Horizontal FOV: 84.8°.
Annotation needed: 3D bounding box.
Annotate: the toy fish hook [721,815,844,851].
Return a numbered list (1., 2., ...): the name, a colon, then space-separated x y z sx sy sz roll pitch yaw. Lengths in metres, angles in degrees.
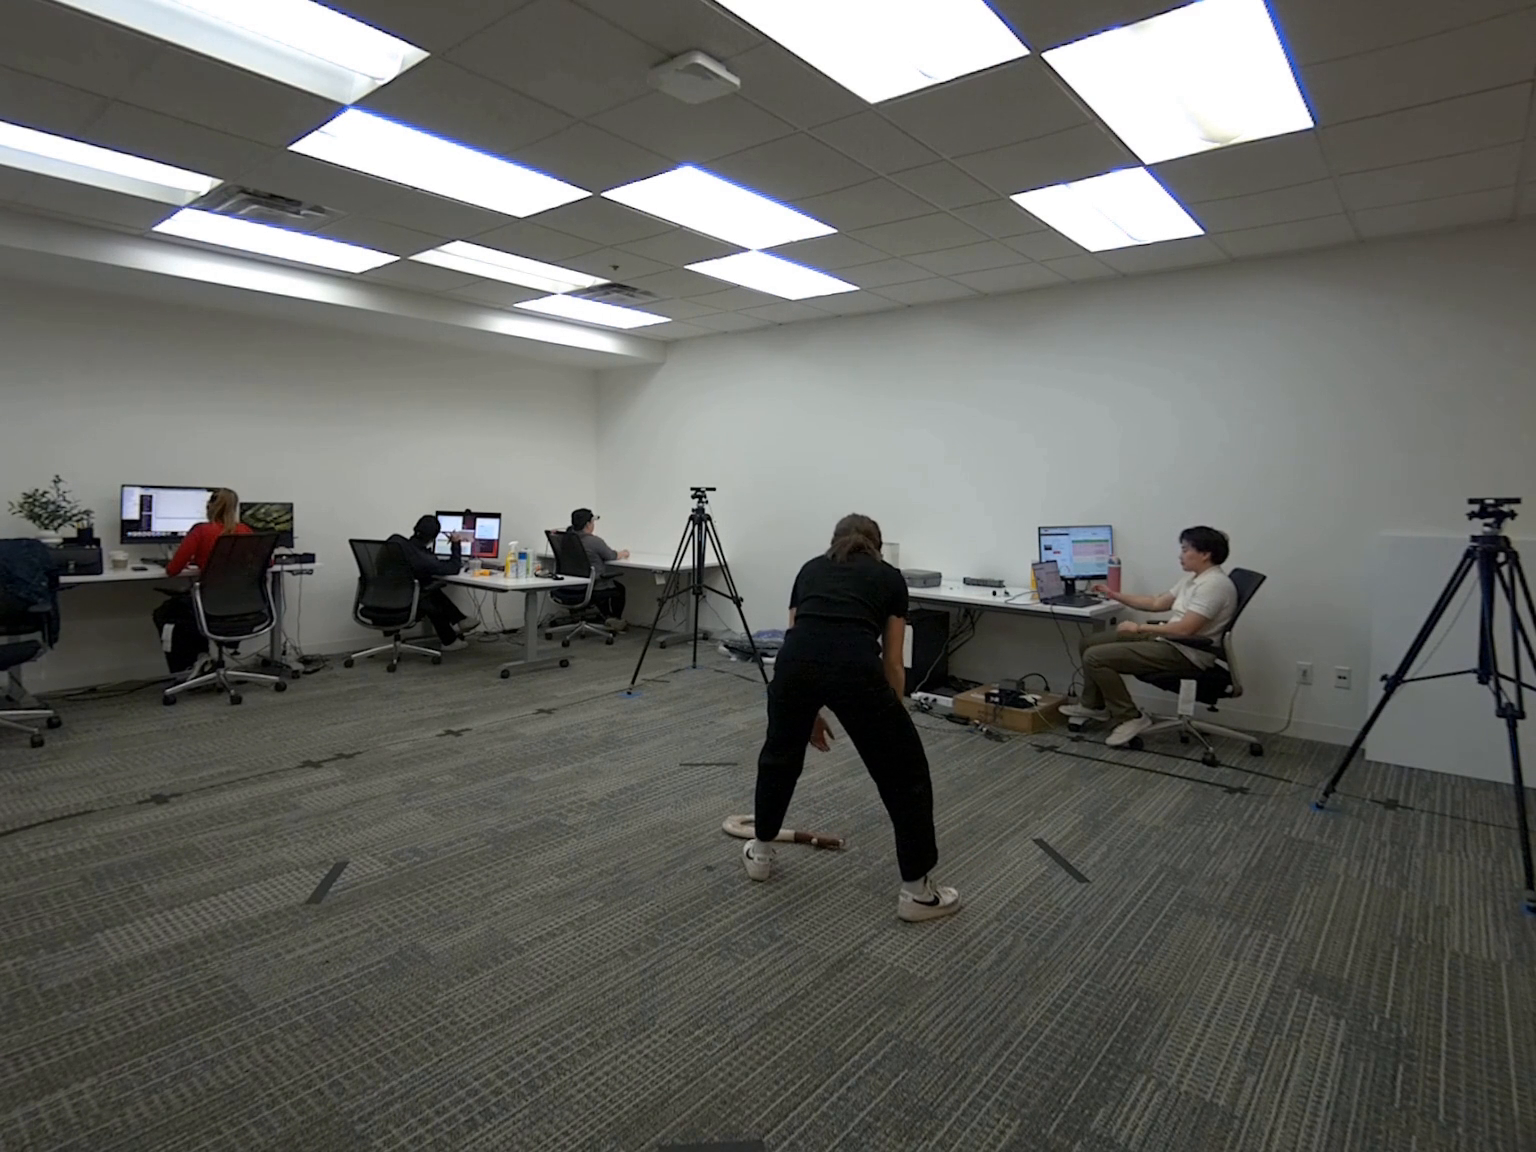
1. toy fish hook: 0.060 1.017 3.429 0.517 0.048 0.221 3 7 18
